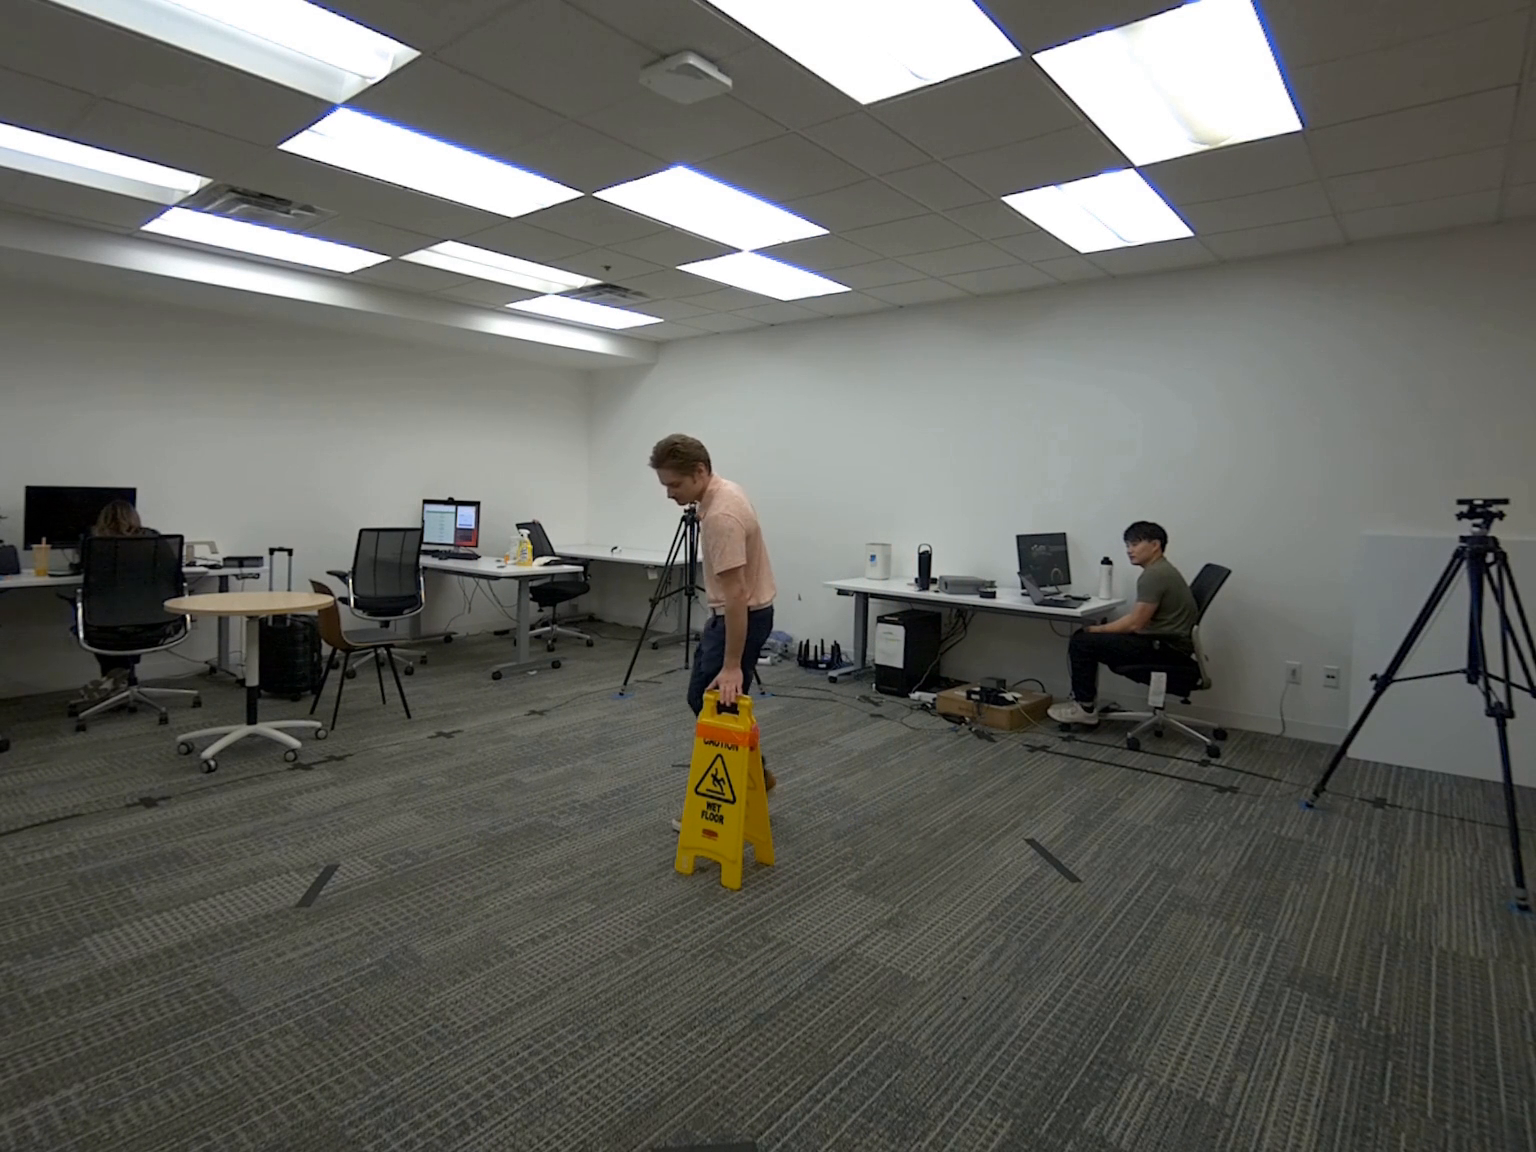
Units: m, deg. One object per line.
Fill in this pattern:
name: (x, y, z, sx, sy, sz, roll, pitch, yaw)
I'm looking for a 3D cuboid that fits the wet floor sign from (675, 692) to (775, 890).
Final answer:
wet floor sign: (-0.164, 0.744, 3.108, 0.291, 0.644, 0.282, 2, 4, 31)
